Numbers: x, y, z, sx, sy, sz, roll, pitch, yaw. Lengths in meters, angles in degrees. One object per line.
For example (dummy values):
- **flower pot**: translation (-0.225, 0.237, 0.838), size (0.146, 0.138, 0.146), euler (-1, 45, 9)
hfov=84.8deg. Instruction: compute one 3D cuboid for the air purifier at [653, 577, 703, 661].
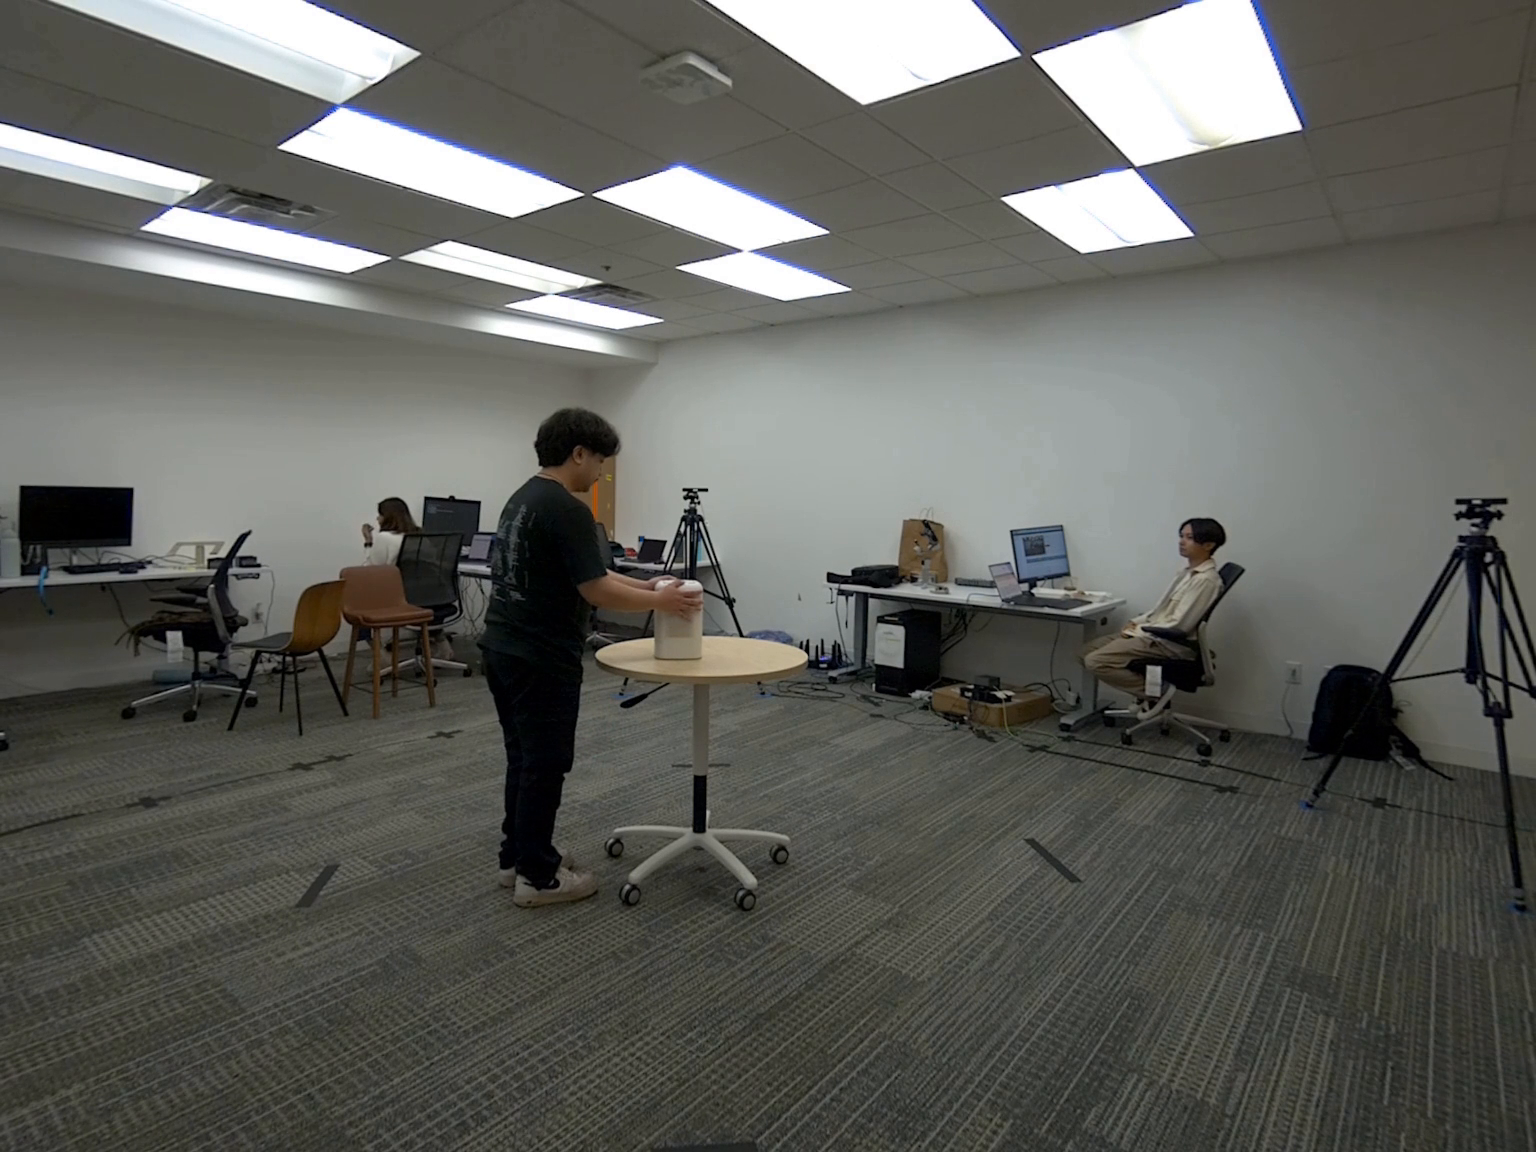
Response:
- **air purifier**: translation (-0.331, 0.154, 3.027), size (0.171, 0.264, 0.172), euler (2, 4, -5)
